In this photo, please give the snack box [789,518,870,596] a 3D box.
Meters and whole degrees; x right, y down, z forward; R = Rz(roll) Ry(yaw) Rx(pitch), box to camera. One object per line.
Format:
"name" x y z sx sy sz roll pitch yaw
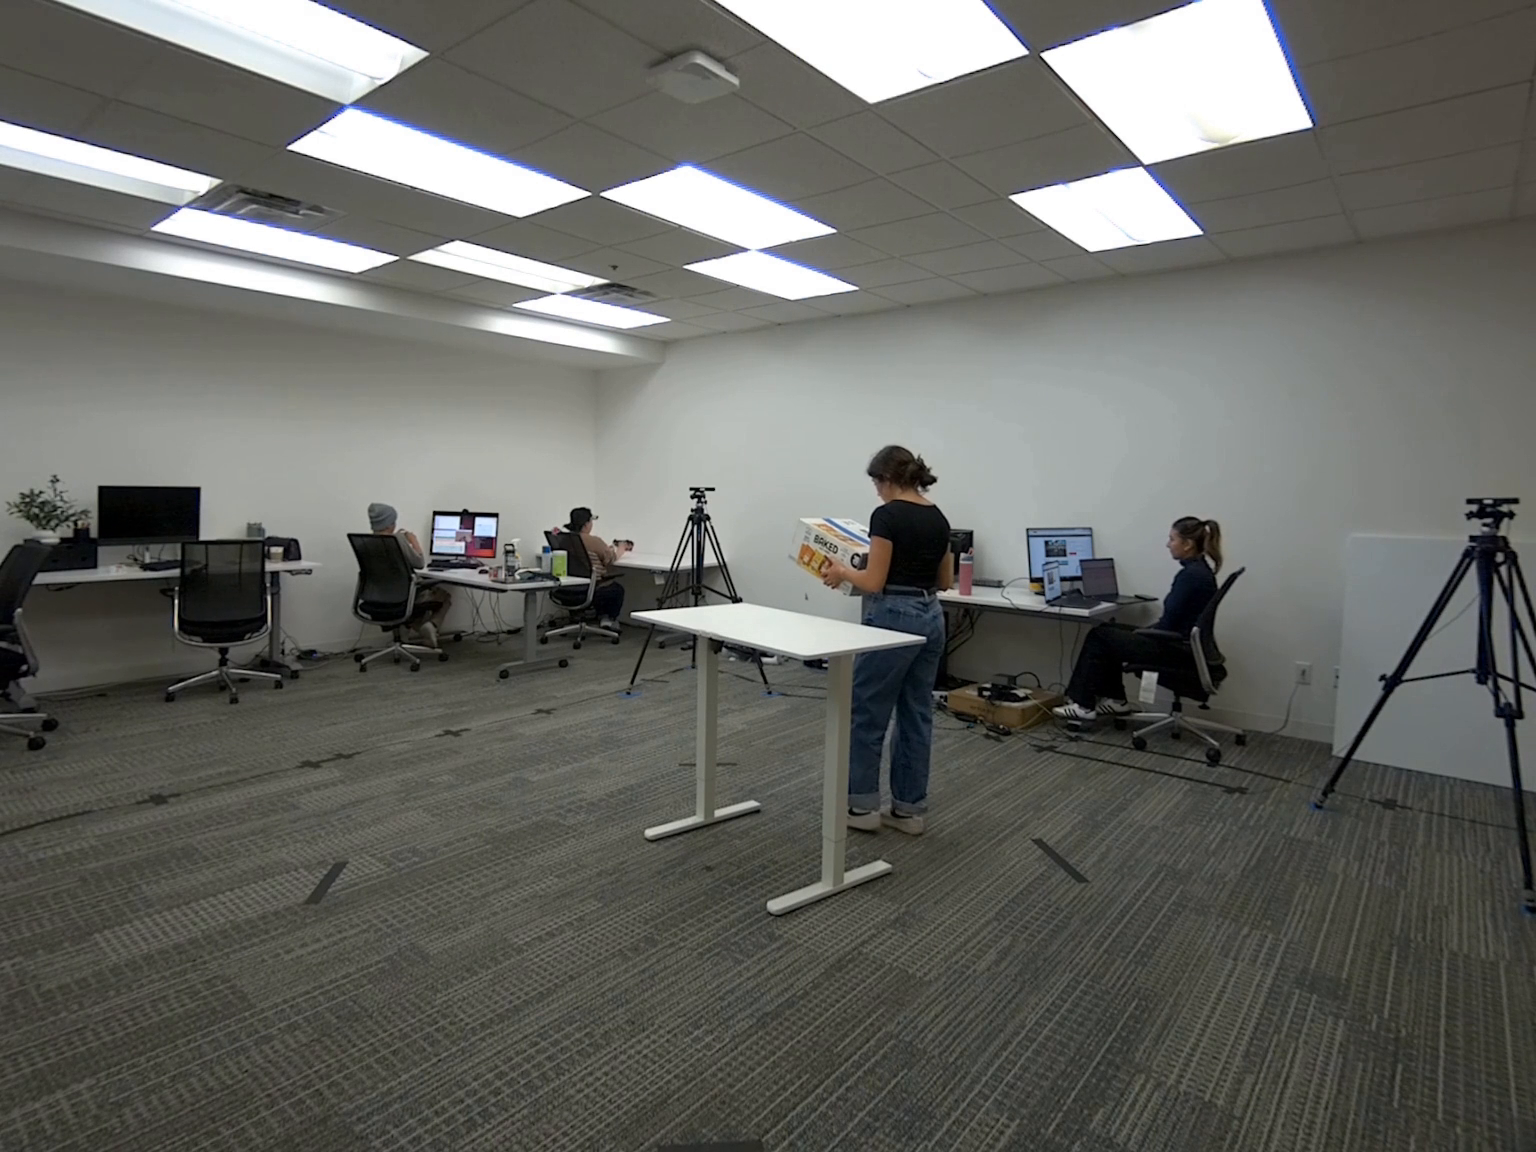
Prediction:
"snack box" 0.355 -0.096 3.807 0.330 0.203 0.422 -2 25 -41
